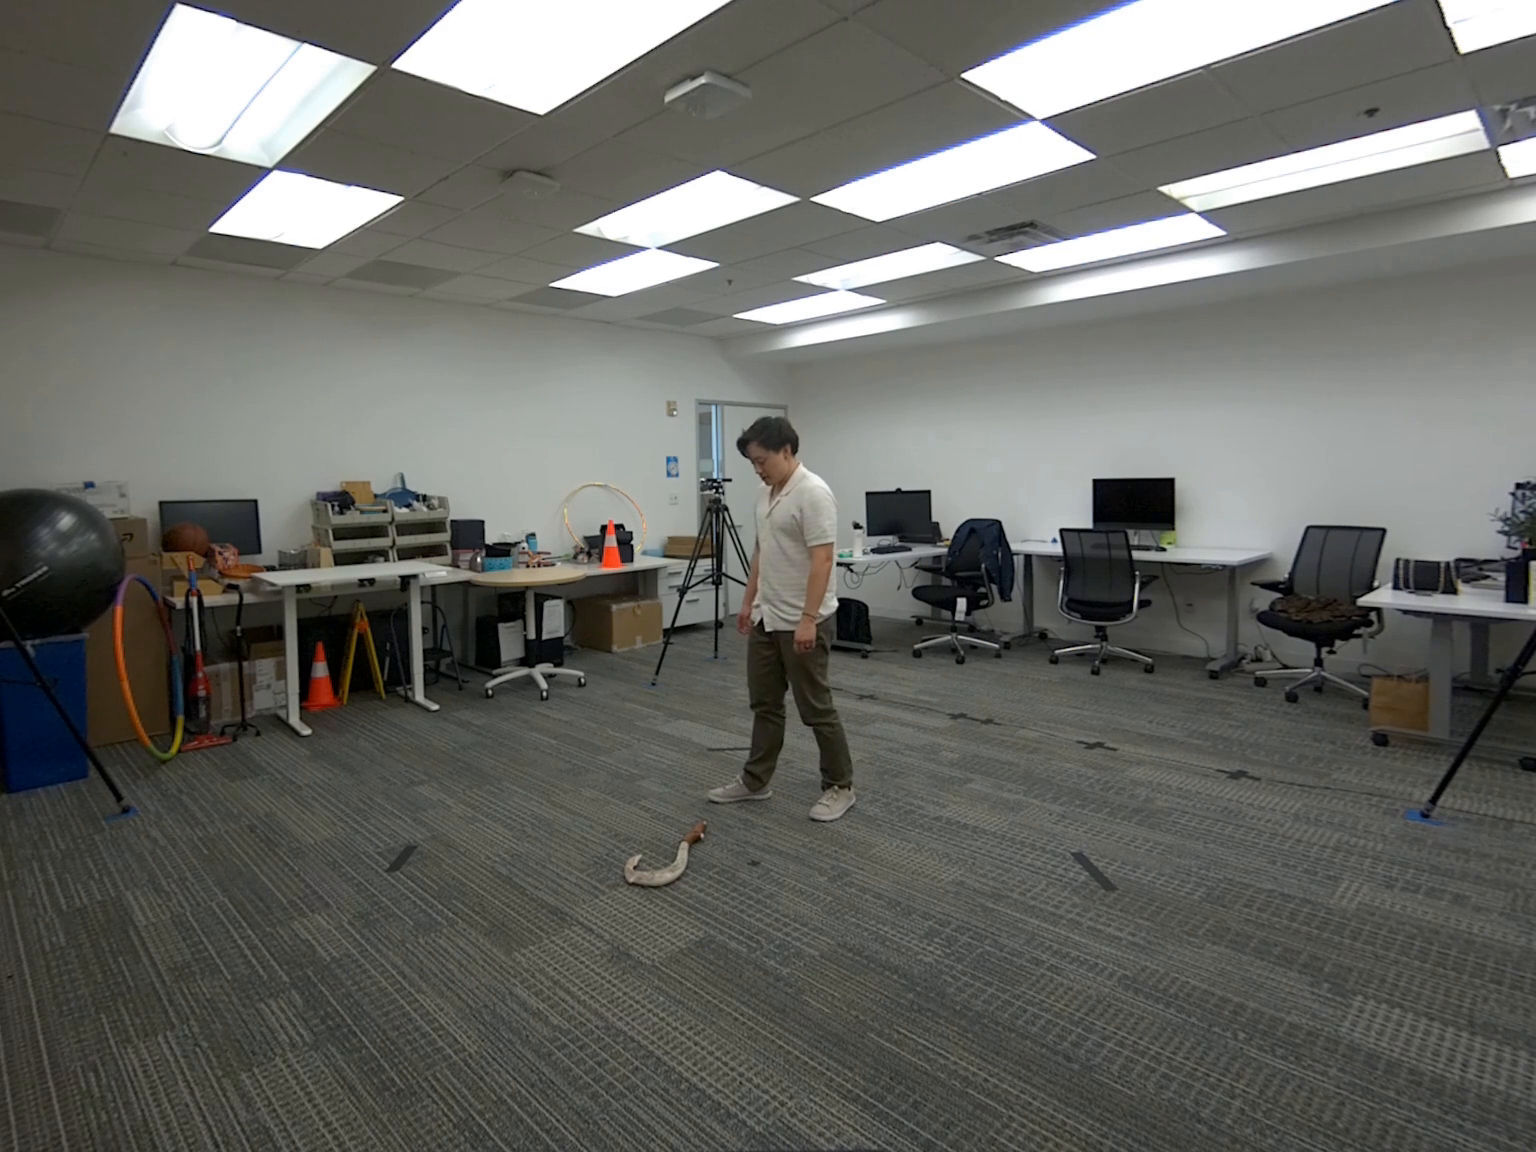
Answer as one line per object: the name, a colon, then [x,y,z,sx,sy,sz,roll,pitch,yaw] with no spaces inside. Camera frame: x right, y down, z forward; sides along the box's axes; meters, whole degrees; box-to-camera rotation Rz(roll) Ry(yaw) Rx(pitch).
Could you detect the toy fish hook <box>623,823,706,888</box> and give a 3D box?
toy fish hook: [-0.369,1.017,3.172,0.228,0.048,0.501,2,7,15]
